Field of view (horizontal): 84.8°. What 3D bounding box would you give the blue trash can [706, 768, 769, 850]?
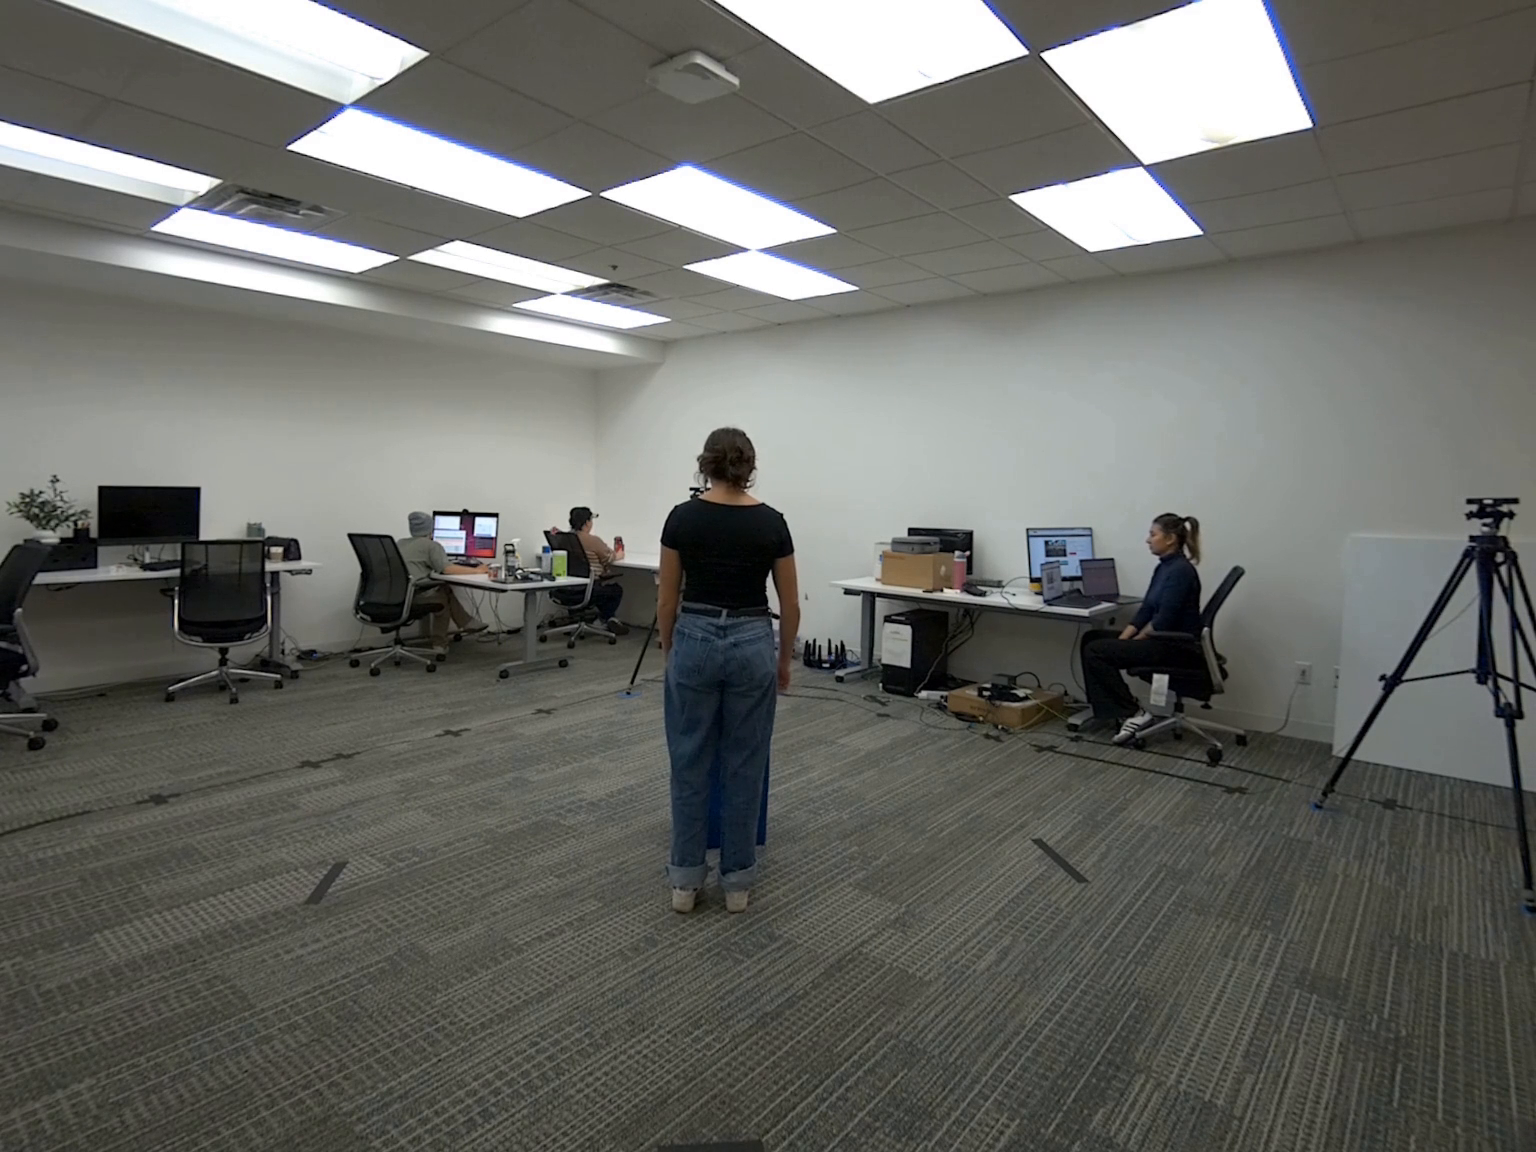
[{"bbox_3d":[-0.193,0.677,3.418,0.369,0.712,0.384,1,3,-14],"label":"blue trash can"}]
